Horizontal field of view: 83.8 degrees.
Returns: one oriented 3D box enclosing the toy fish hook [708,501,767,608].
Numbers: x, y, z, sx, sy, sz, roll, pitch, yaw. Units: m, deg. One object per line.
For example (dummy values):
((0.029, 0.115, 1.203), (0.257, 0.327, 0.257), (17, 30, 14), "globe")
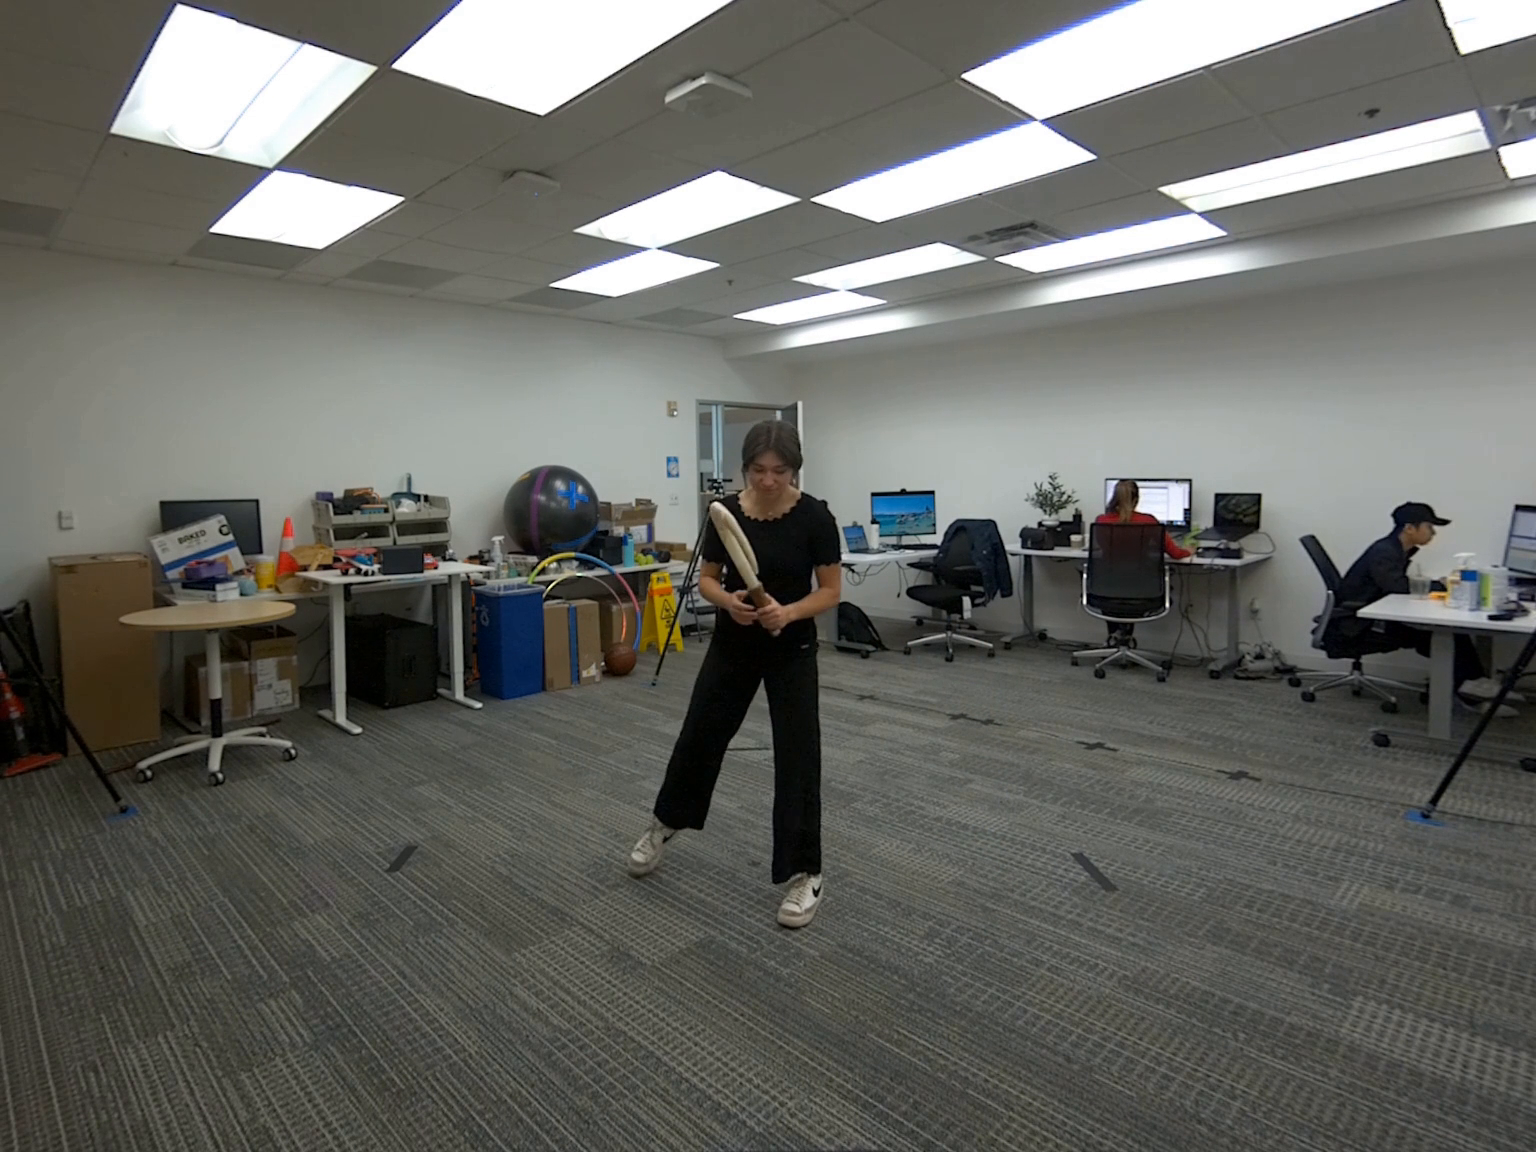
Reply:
((-0.058, 0.015, 2.485), (0.048, 0.491, 0.232), (-27, 31, -7), "toy fish hook")
